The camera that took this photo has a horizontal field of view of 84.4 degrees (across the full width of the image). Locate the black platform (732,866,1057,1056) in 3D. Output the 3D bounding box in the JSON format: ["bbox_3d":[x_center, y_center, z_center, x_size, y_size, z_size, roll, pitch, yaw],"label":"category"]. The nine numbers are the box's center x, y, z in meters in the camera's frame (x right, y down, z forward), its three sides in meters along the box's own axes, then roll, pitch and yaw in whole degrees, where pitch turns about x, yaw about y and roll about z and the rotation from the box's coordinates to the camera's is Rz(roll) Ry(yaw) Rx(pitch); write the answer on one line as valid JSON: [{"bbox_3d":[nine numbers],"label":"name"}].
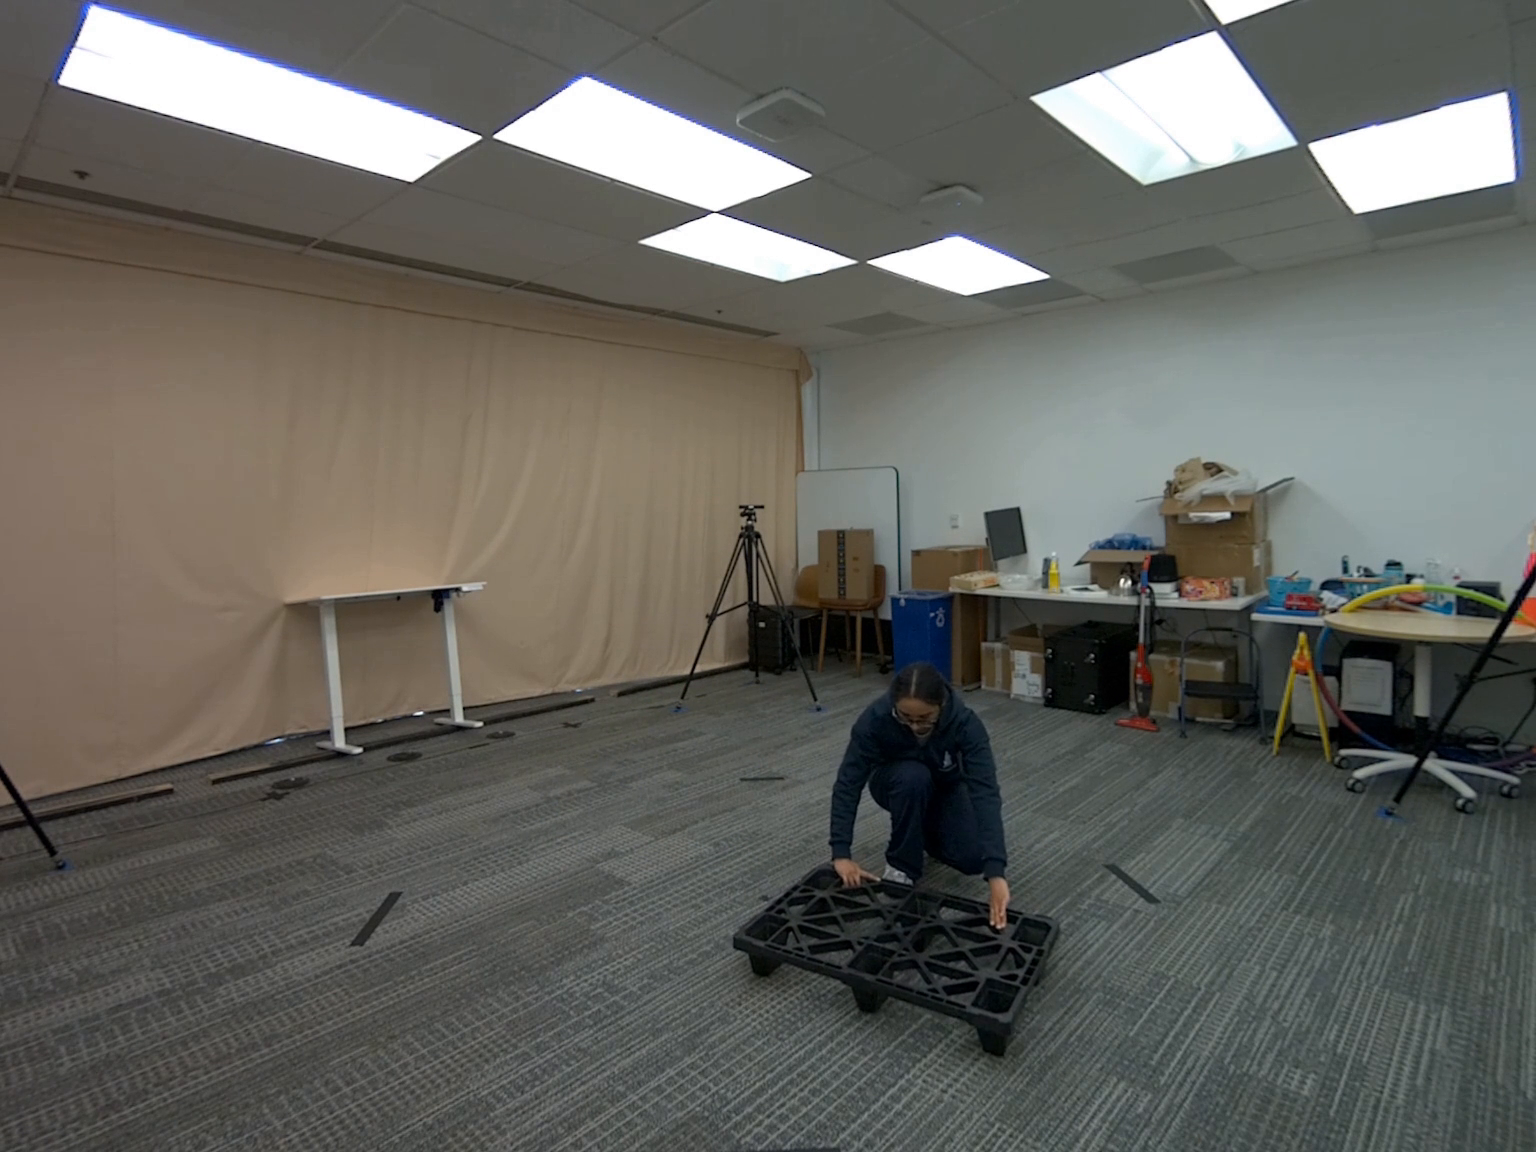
[{"bbox_3d":[0.384,1.107,2.500,0.830,0.143,0.589,3,6,33],"label":"black platform"}]
